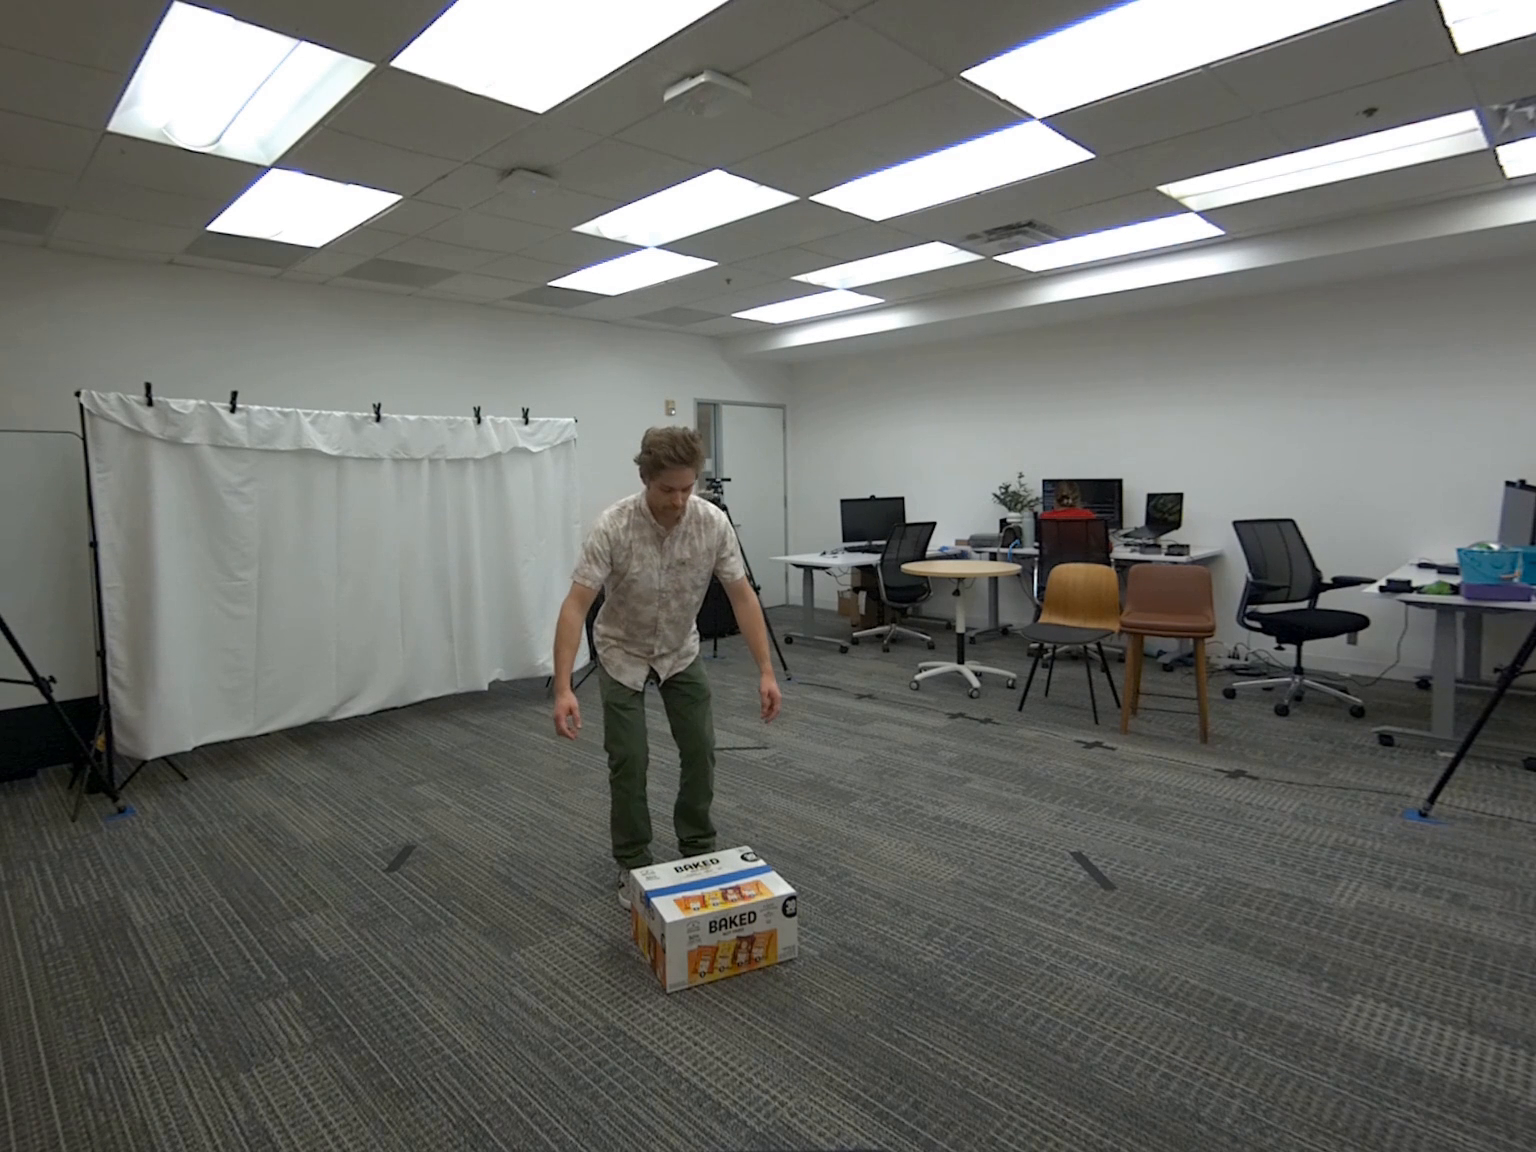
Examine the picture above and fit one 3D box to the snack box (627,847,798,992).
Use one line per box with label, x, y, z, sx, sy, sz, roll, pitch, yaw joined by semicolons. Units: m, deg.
snack box;-0.163;1.007;2.550;0.397;0.205;0.349;-4;7;-24
